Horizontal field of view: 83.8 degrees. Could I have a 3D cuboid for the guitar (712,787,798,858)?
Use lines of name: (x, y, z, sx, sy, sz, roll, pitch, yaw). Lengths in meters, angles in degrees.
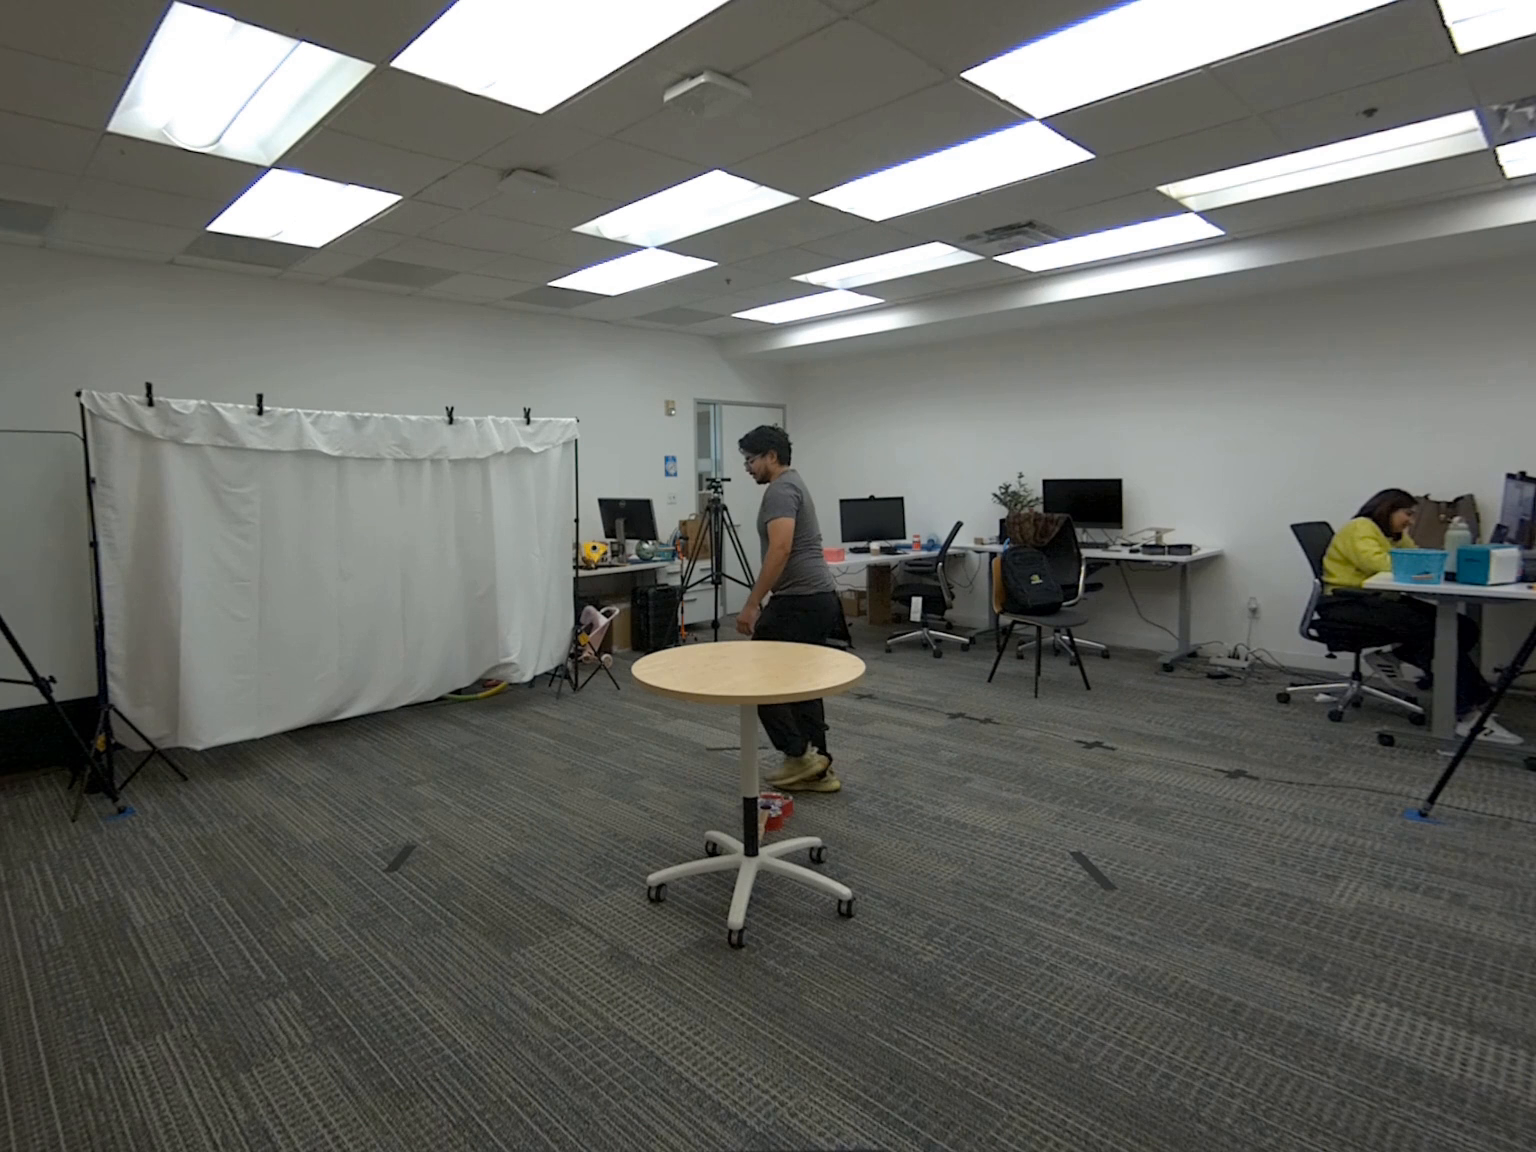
guitar: (-0.045, 0.968, 3.406, 0.196, 0.070, 0.491, 1, 6, 18)
